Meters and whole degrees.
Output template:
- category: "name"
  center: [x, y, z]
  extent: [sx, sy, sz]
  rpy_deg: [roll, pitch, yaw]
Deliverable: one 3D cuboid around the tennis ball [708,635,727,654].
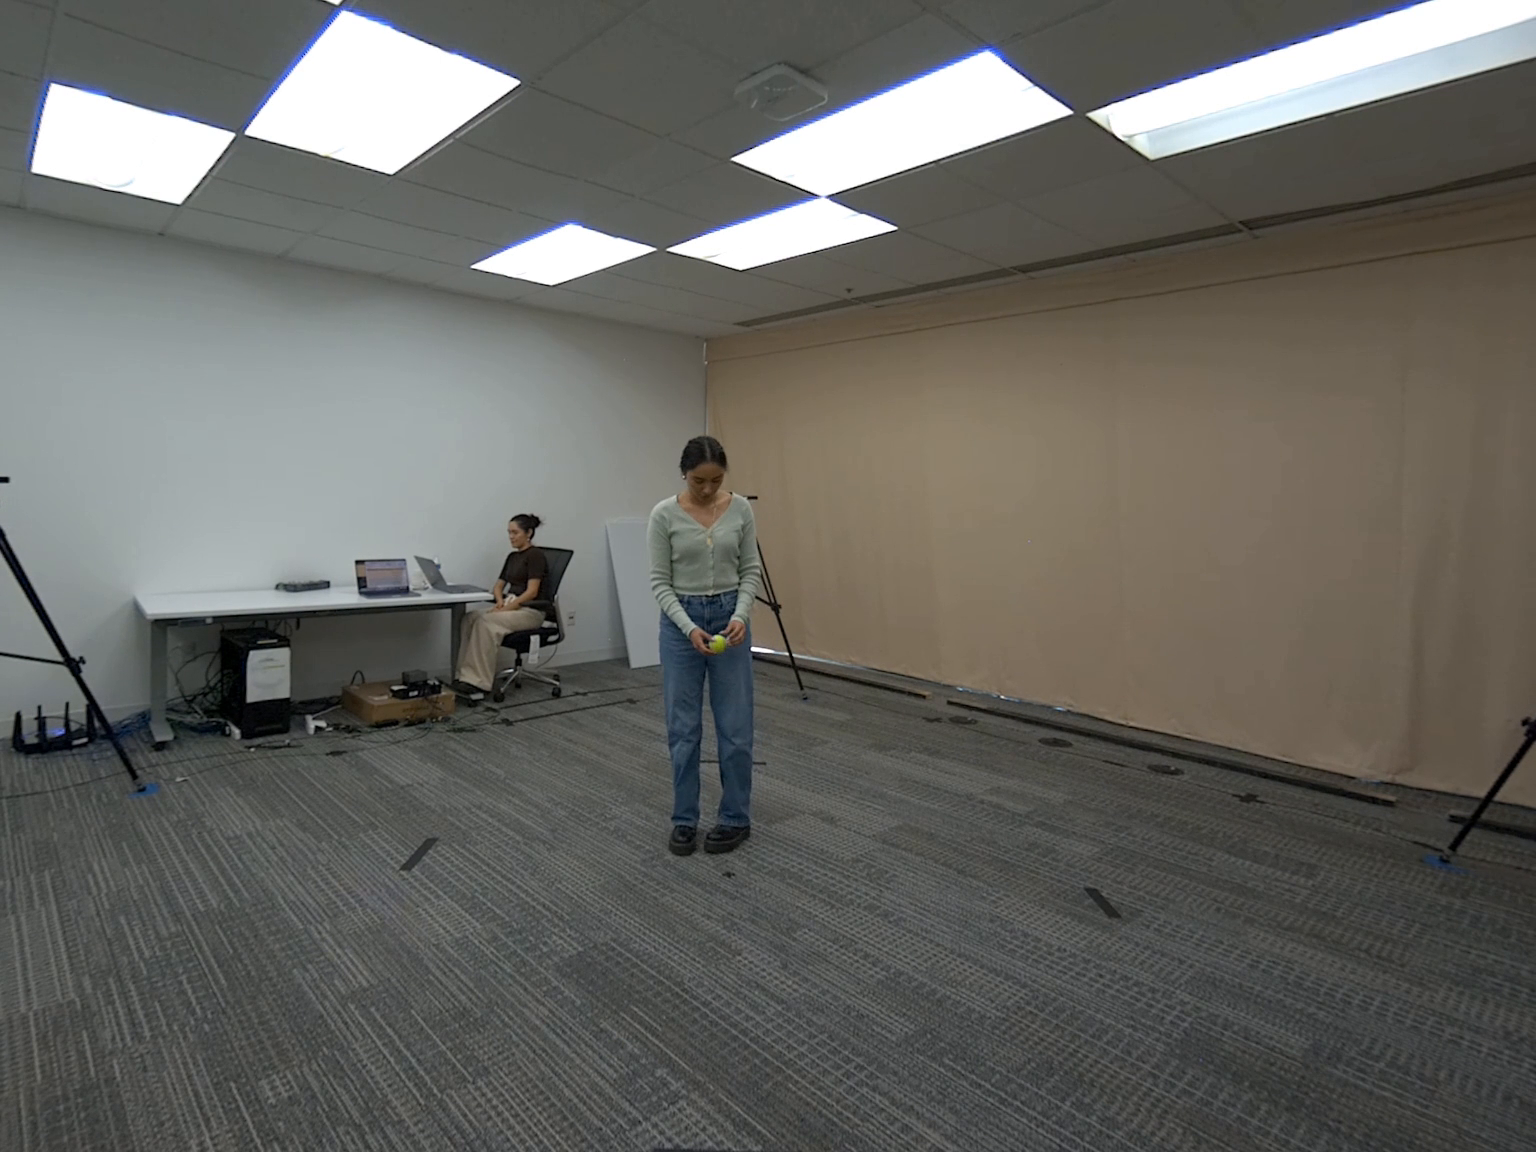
- category: "tennis ball"
  center: [-0.198, 0.246, 3.143]
  extent: [0.066, 0.066, 0.067]
  rpy_deg: [1, 4, -1]
